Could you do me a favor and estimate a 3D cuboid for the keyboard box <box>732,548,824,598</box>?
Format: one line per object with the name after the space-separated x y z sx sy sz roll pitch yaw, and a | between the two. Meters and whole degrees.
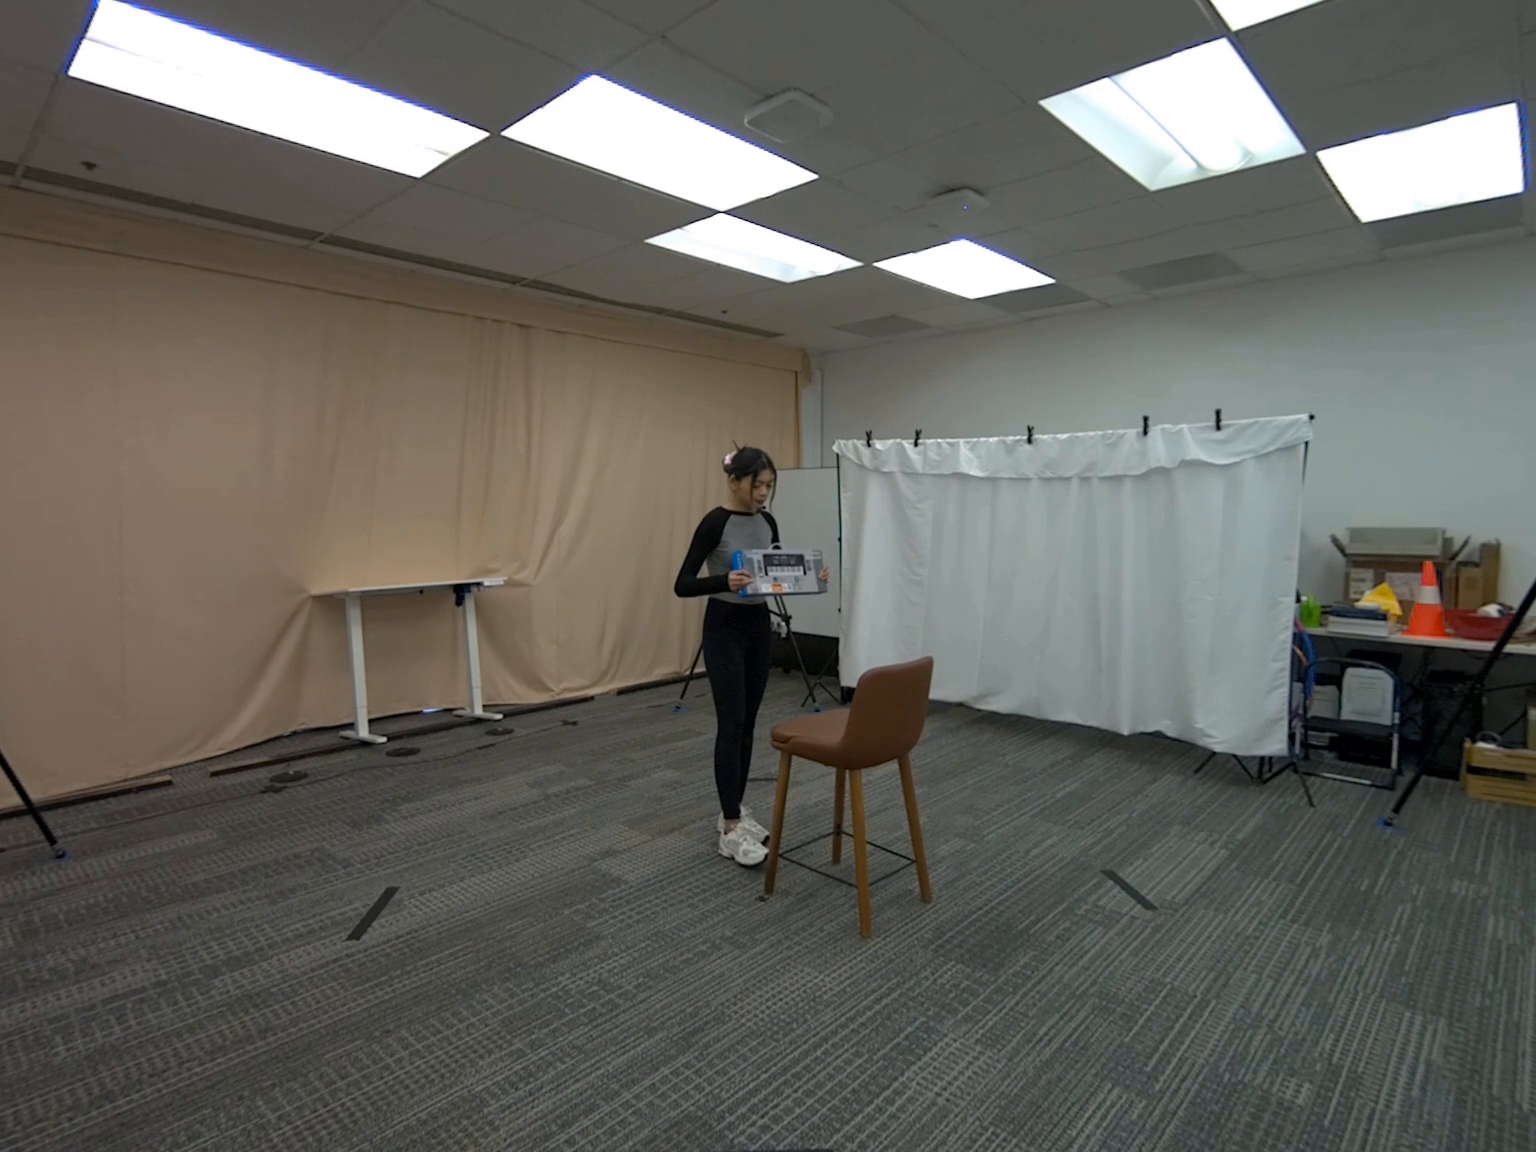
0.059 -0.010 3.292 0.423 0.177 0.060 0 -12 -41 | keyboard box
